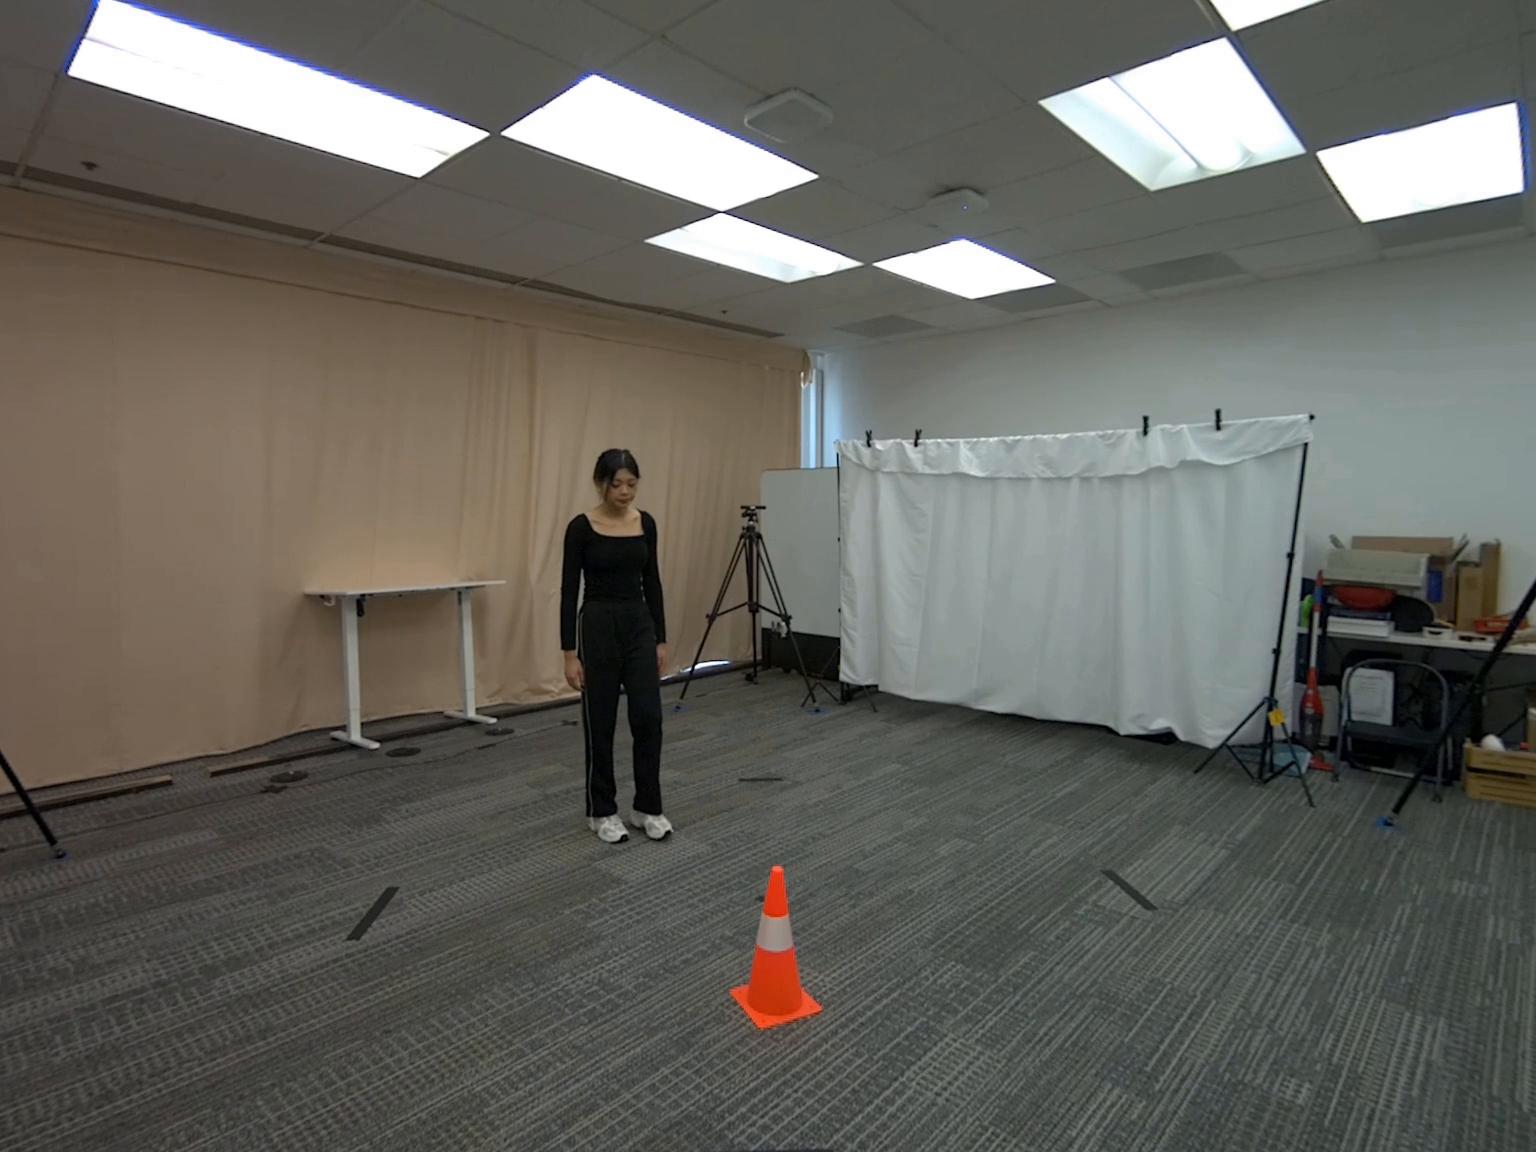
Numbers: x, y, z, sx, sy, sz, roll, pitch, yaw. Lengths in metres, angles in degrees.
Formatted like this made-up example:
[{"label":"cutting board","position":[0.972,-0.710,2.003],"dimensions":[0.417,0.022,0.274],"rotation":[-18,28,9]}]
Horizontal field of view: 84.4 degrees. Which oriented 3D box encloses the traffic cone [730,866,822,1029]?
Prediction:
[{"label":"traffic cone","position":[0.025,1.014,2.350],"dimensions":[0.199,0.383,0.210],"rotation":[-1,5,-24]}]
